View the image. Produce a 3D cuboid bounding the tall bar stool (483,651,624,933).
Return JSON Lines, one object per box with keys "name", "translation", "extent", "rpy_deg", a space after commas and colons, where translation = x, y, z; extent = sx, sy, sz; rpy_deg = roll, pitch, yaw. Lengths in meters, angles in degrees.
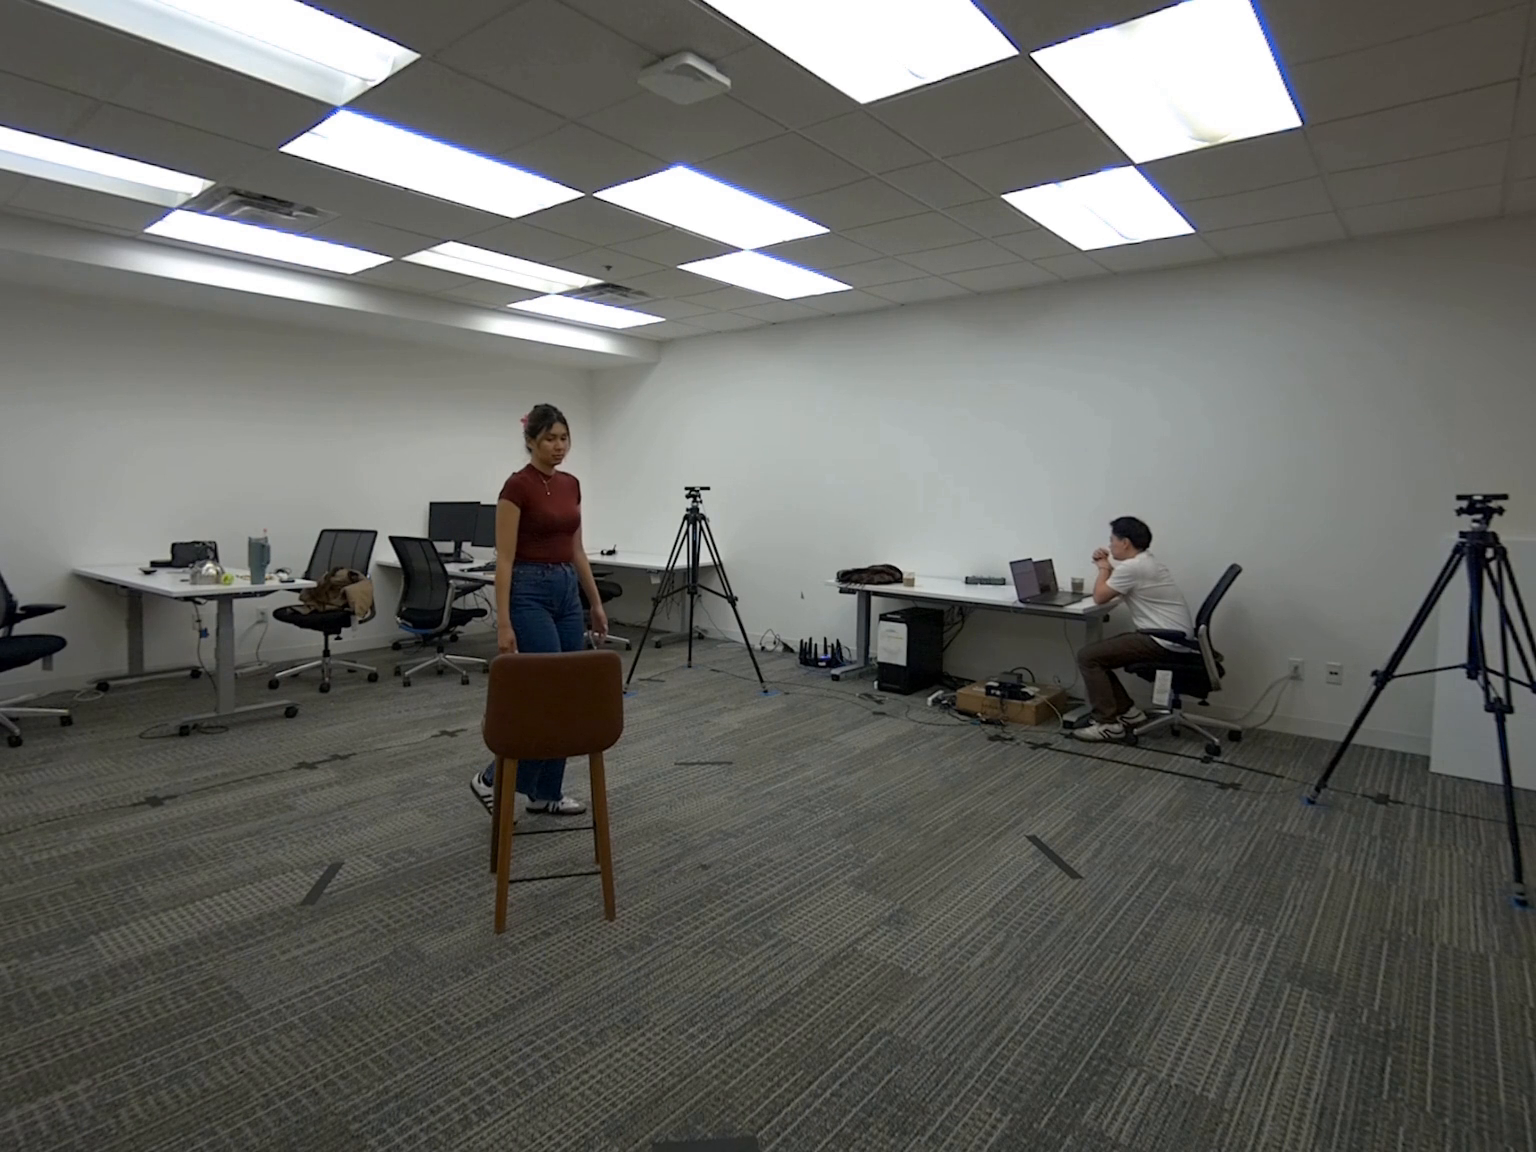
{"name": "tall bar stool", "translation": [-0.745, 0.653, 2.862], "extent": [0.449, 0.886, 0.478], "rpy_deg": [-1, 5, -17]}
